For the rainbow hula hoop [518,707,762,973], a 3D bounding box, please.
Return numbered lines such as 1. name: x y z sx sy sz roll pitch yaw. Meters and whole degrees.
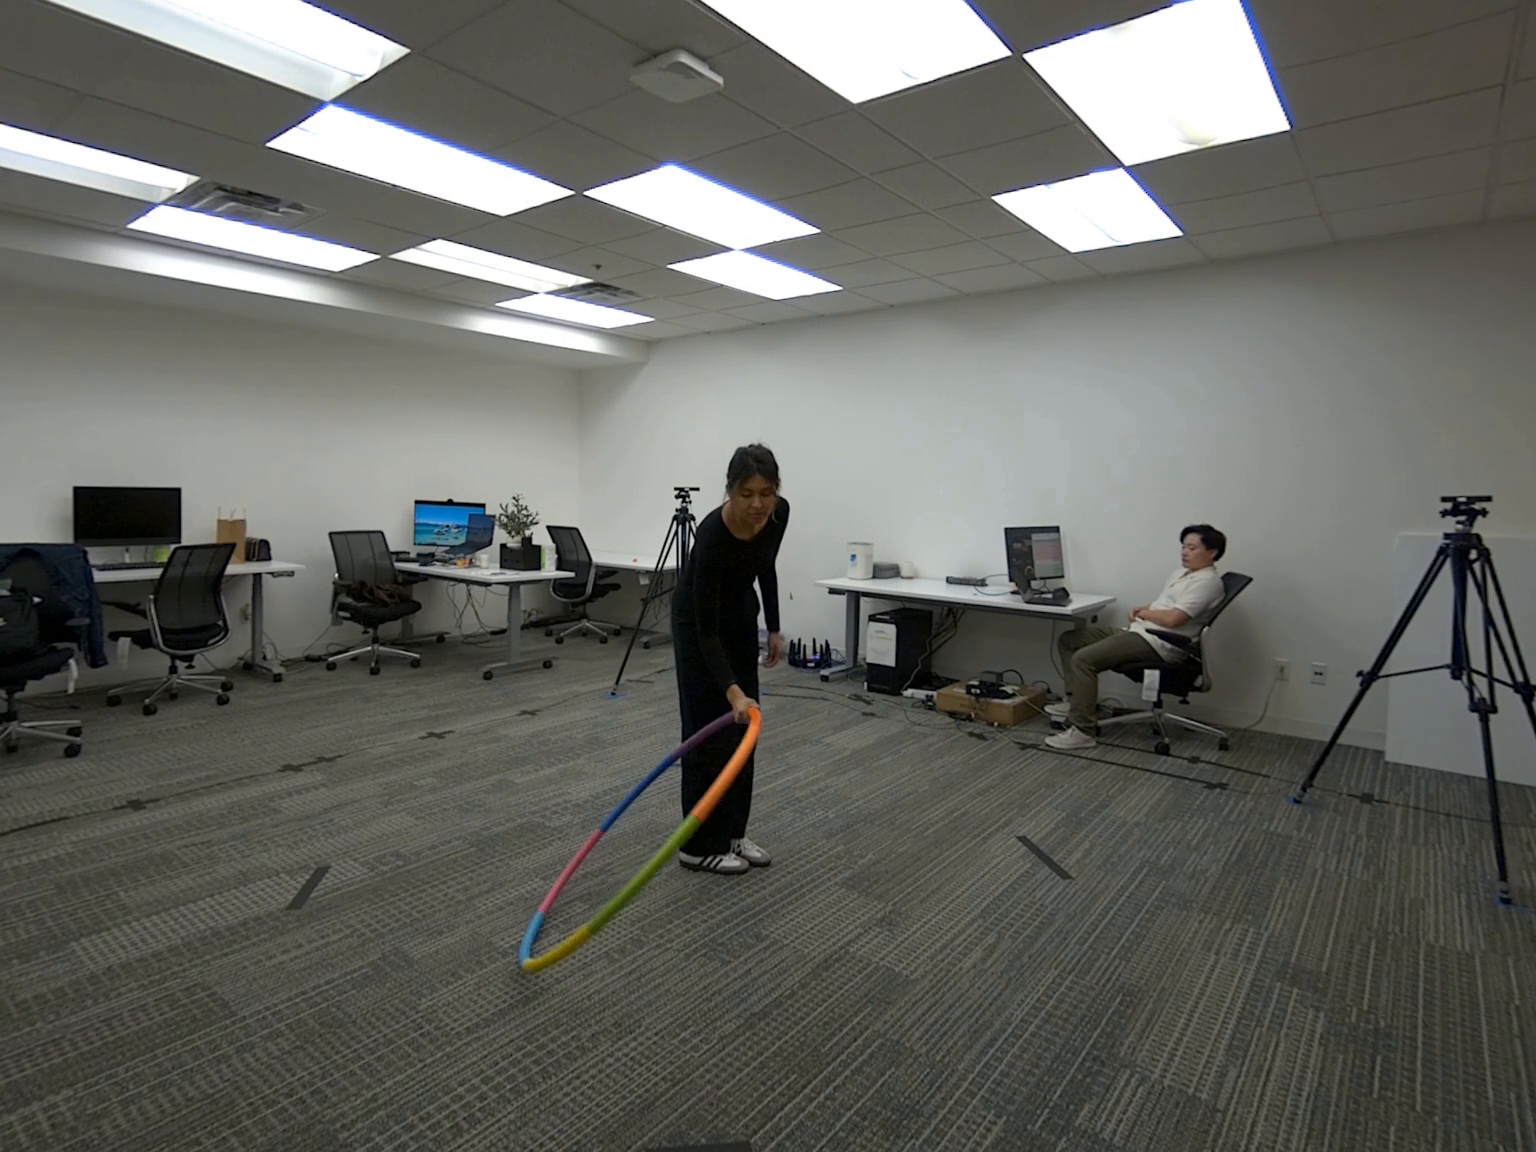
1. rainbow hula hoop: -0.404 0.762 2.565 0.051 0.985 0.990 46 1 -6
